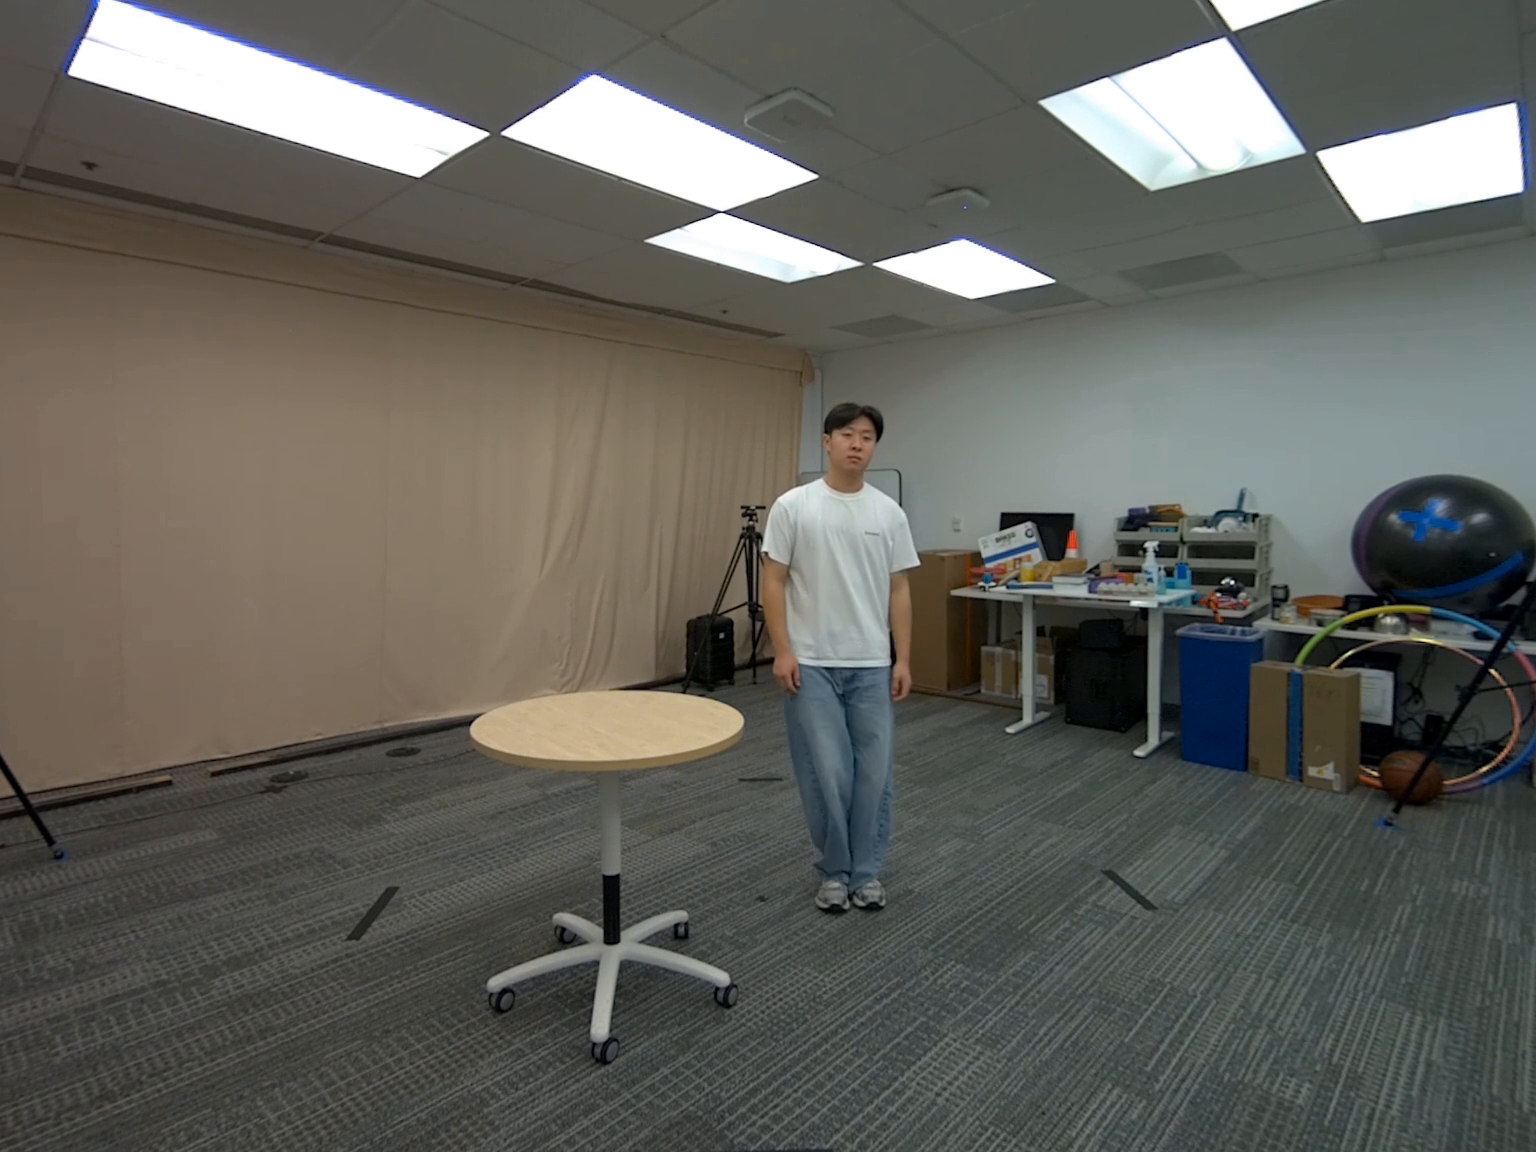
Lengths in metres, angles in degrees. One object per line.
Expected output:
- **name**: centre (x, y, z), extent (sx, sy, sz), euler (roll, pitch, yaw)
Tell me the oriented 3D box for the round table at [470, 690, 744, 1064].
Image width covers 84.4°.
- **round table**: centre (-0.440, 0.806, 2.414), extent (0.763, 0.792, 0.767), euler (0, 4, -2)
